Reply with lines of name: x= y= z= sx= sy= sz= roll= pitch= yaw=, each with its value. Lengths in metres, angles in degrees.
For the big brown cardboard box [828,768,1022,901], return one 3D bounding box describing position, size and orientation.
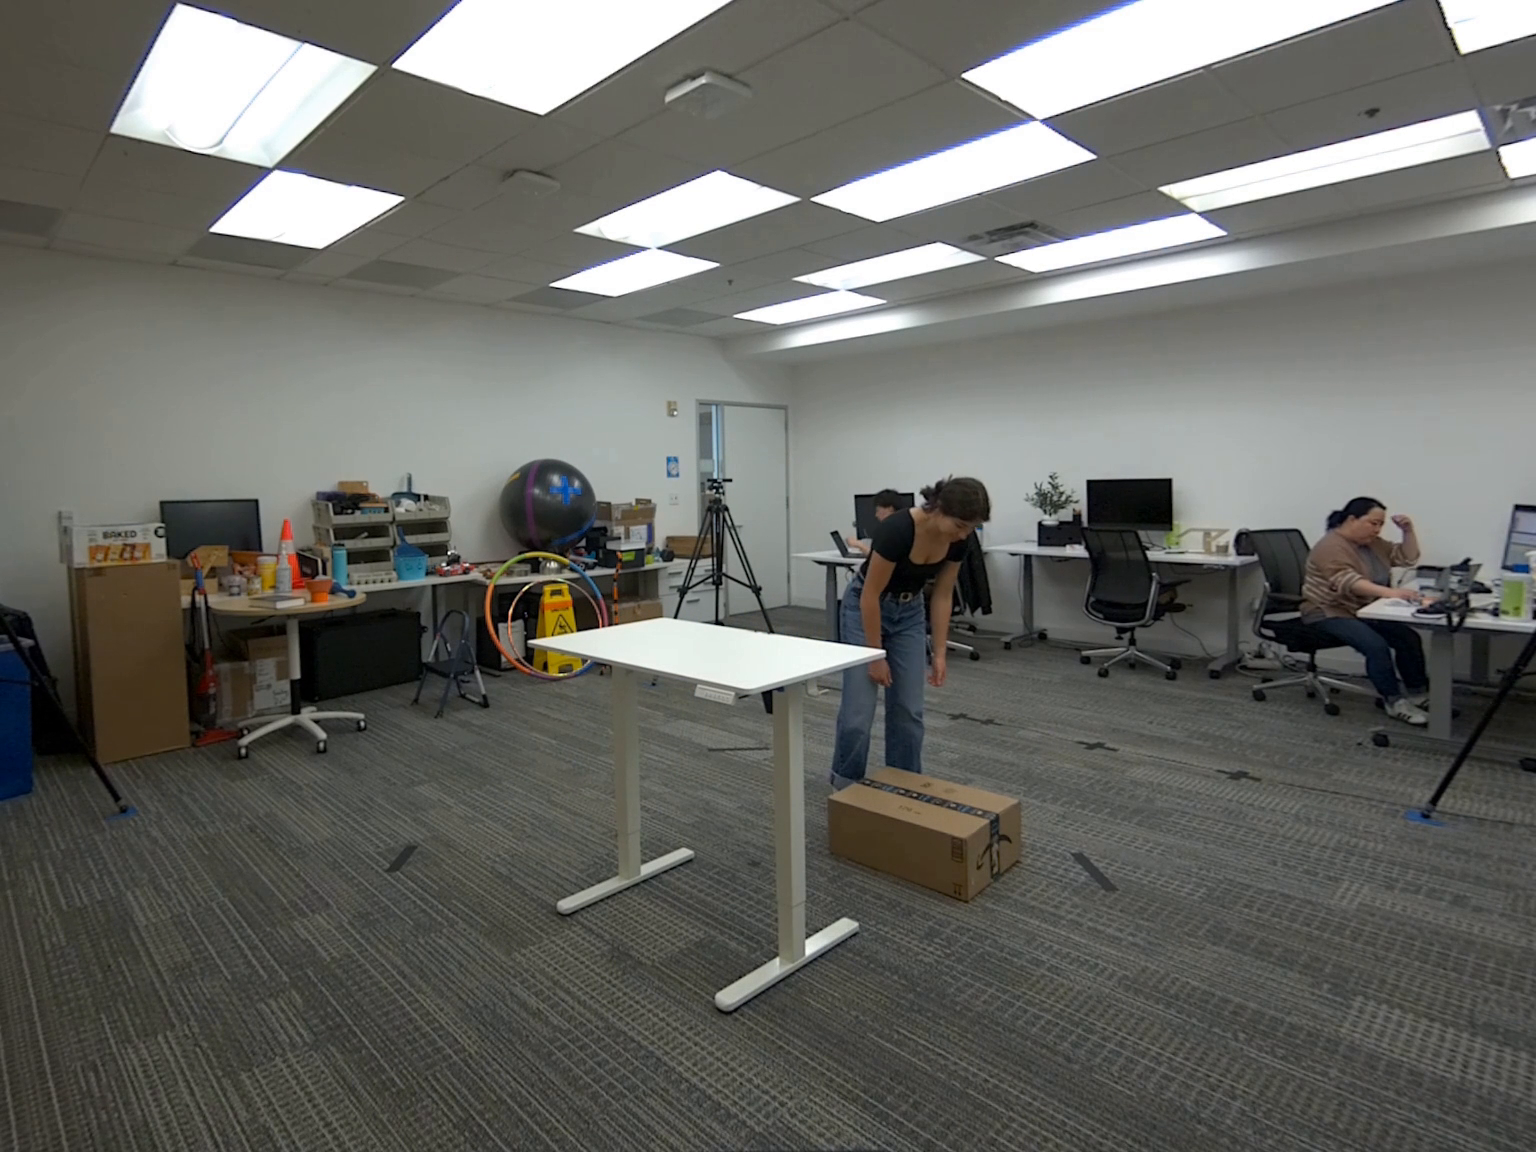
big brown cardboard box: x=0.573 y=0.920 z=3.127 sx=0.607 sy=0.232 sz=0.407 roll=5 pitch=9 yaw=42
